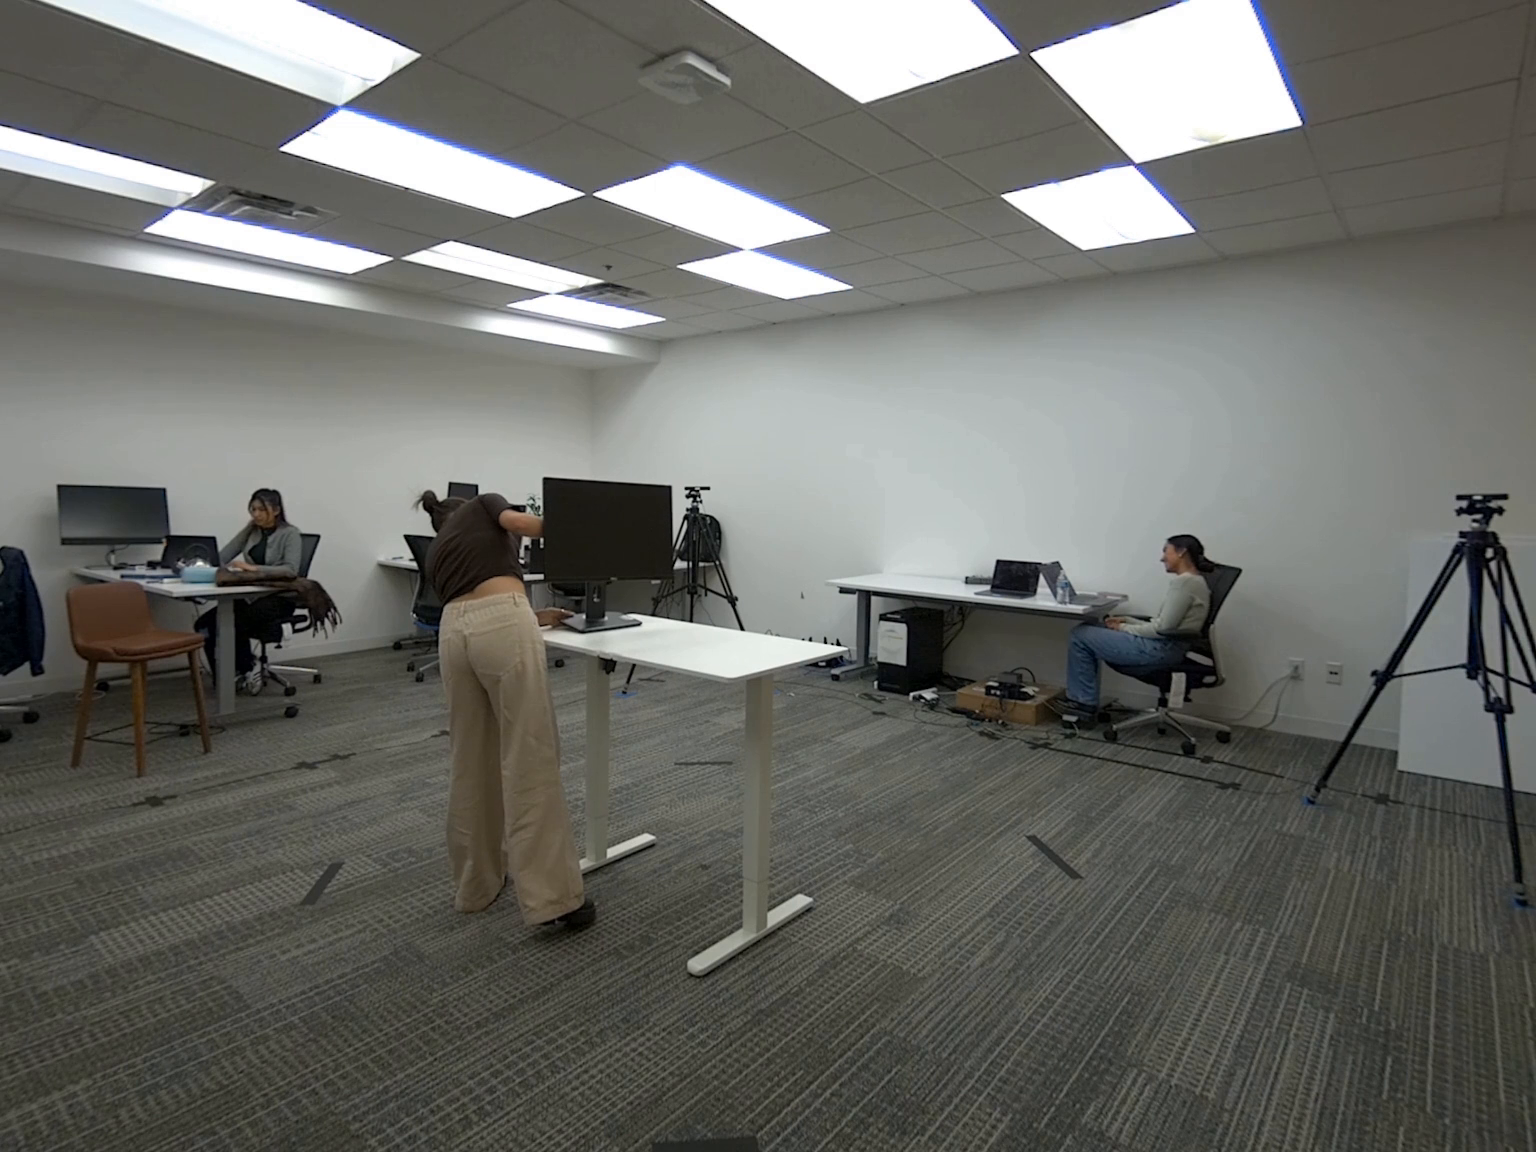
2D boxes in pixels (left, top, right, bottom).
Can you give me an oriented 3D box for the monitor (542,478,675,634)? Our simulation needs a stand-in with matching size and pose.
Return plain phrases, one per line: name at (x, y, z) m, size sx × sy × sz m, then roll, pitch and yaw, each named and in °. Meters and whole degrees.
monitor at (-0.601, -0.076, 3.025) m, size 0.522 × 0.519 × 0.194 m, roll 0°, pitch 9°, yaw -42°
